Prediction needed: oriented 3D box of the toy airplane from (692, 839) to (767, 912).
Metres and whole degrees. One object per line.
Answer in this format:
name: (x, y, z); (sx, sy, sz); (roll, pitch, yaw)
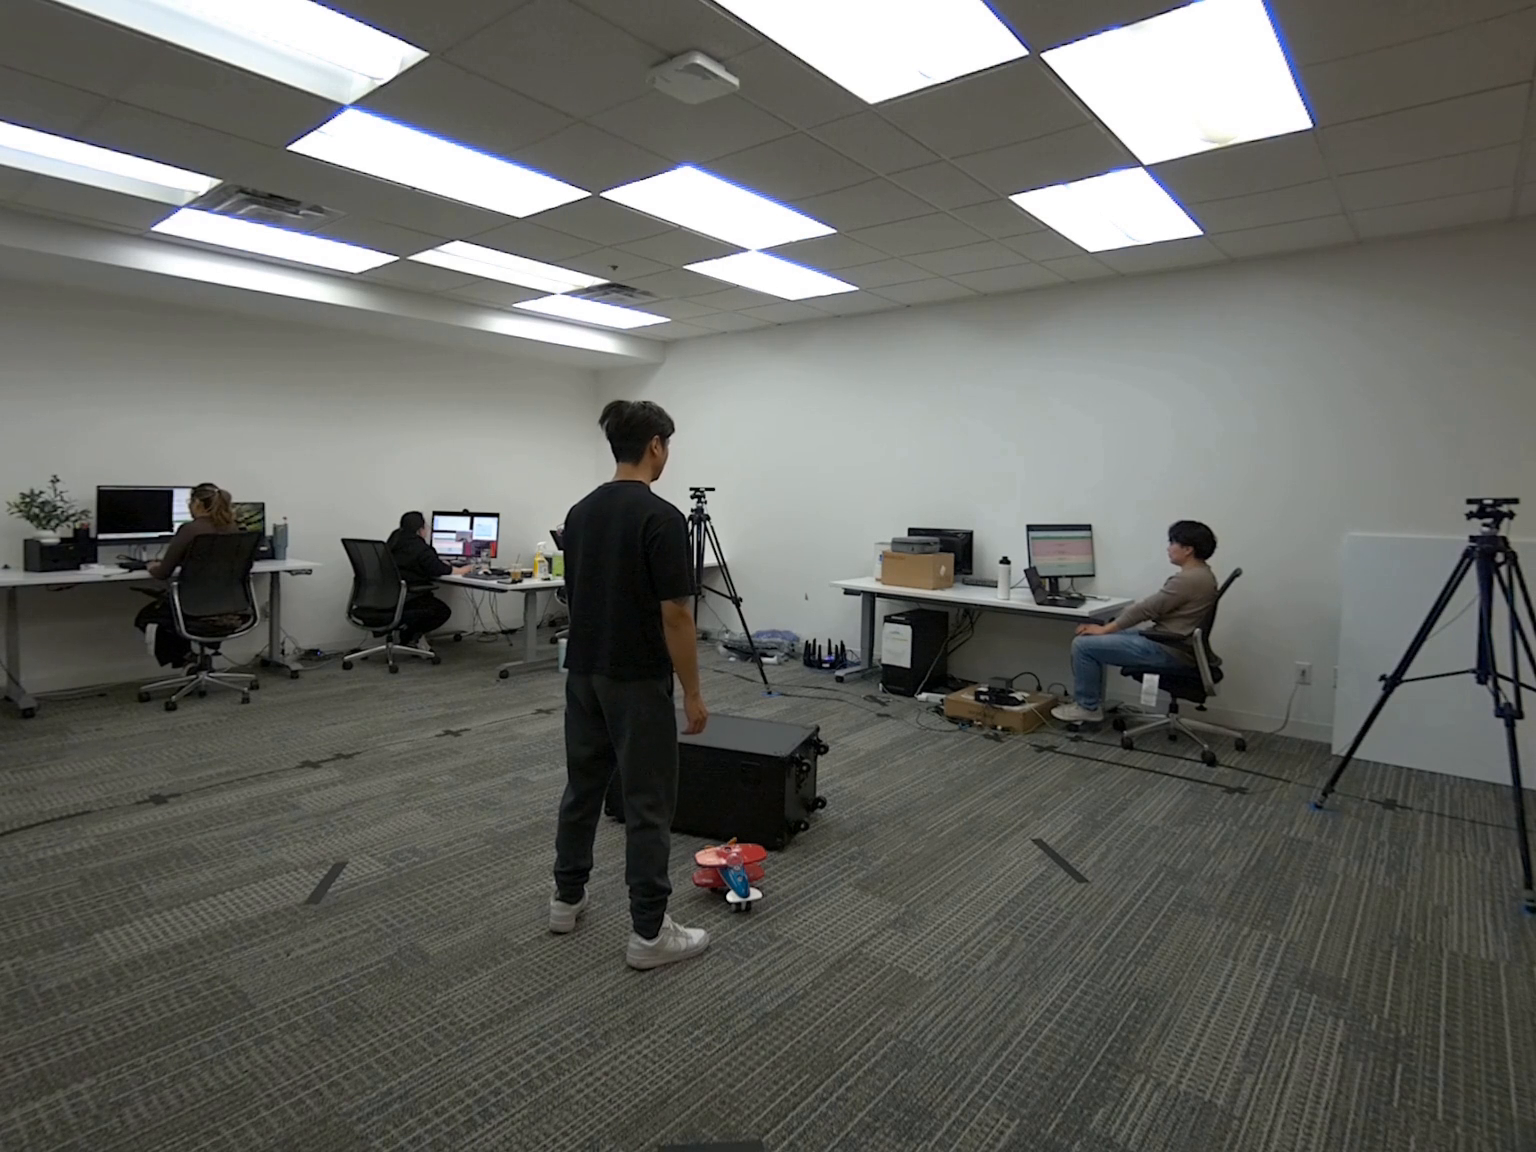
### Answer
toy airplane: (-0.108, 1.013, 2.894); (0.268, 0.156, 0.244); (4, 6, 41)
